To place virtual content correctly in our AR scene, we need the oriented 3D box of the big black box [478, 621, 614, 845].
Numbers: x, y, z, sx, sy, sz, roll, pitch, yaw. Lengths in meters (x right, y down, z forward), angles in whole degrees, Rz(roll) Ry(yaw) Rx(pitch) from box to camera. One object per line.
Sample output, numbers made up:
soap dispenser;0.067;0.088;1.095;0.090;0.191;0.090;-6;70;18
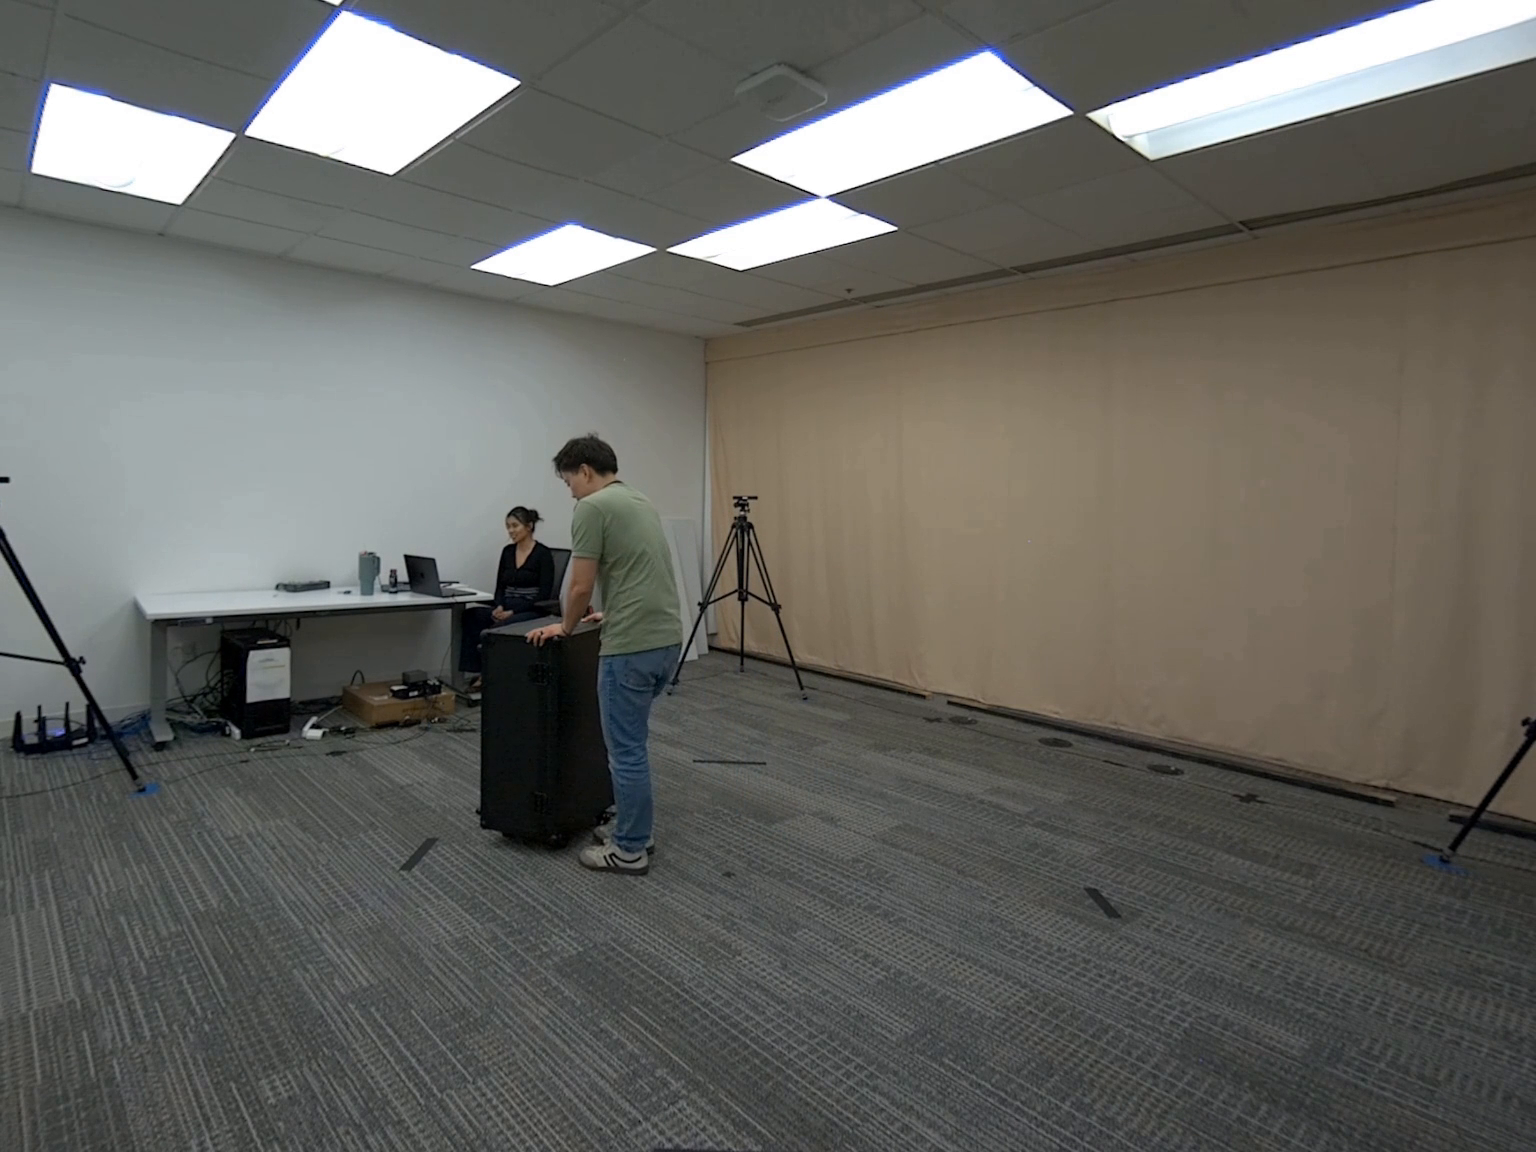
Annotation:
big black box;-0.902;0.636;3.456;0.403;0.860;0.513;2;3;21
